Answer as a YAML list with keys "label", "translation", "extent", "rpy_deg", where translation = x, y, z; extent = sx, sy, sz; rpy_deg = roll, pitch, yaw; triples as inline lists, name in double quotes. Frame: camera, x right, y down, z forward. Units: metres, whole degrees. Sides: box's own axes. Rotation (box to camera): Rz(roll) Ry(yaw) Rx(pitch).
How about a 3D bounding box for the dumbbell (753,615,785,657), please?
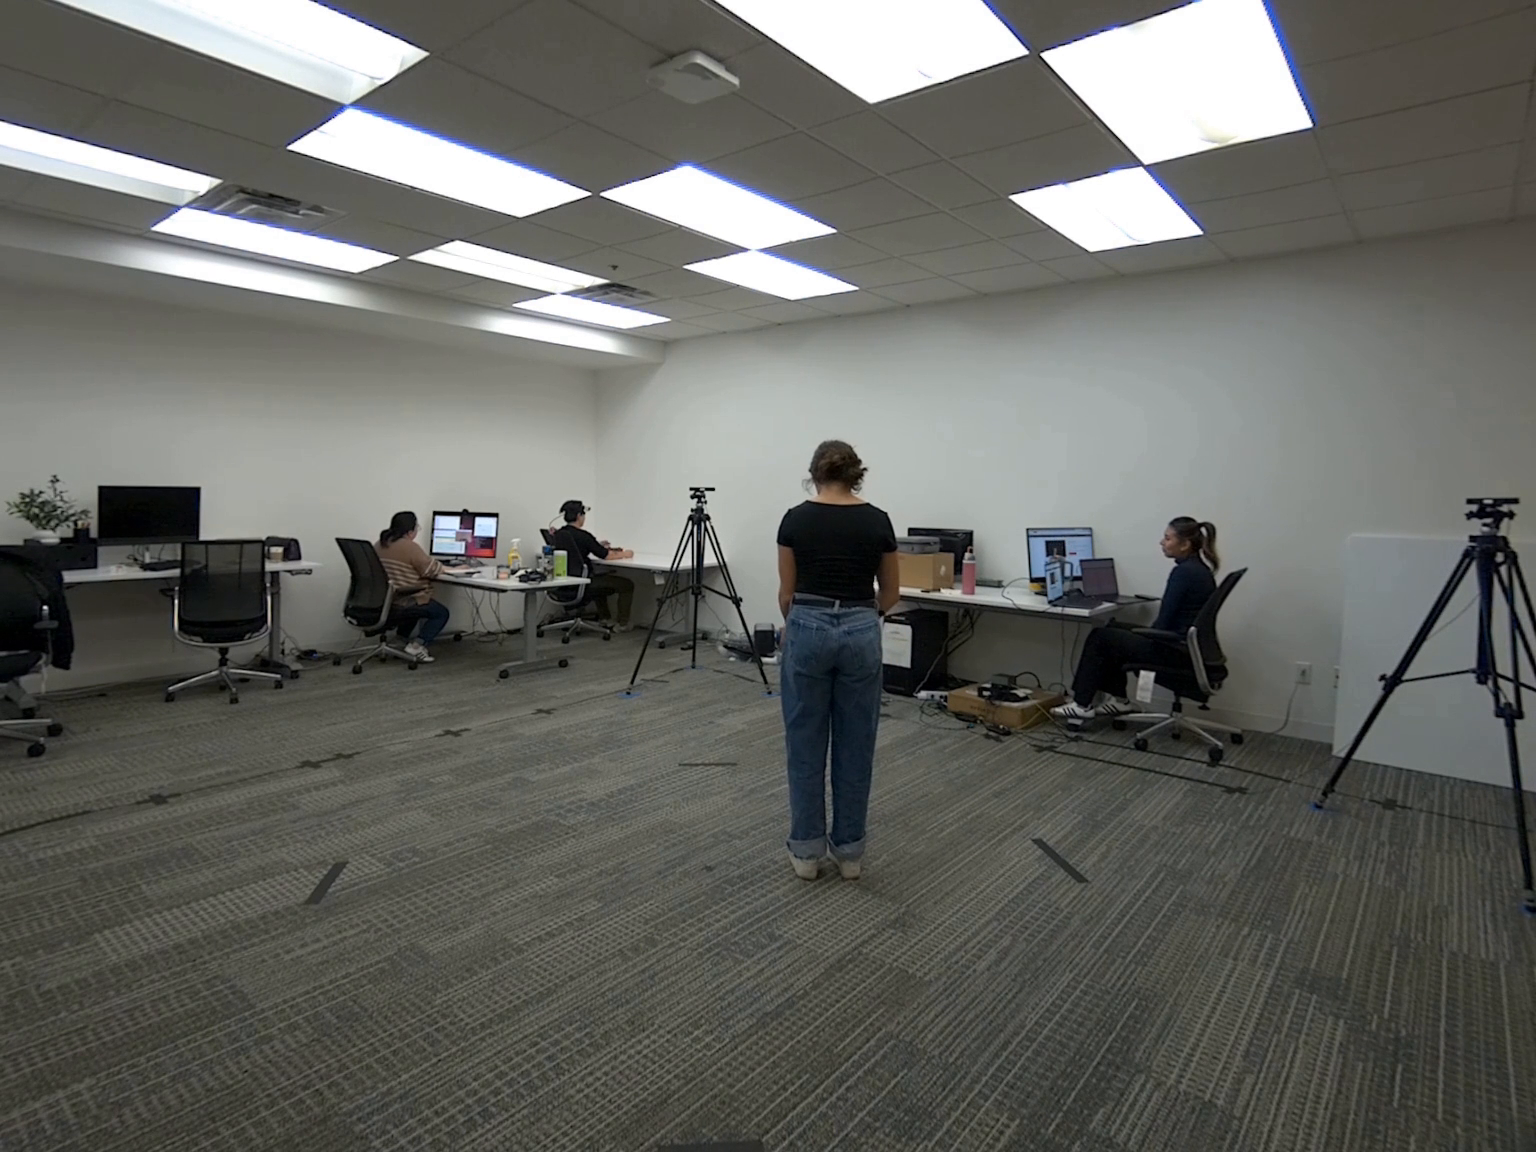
- label: "dumbbell"
  translation: [0.092, 0.233, 3.352]
  extent: [0.294, 0.112, 0.119]
  rpy_deg: [-3, -37, 3]
